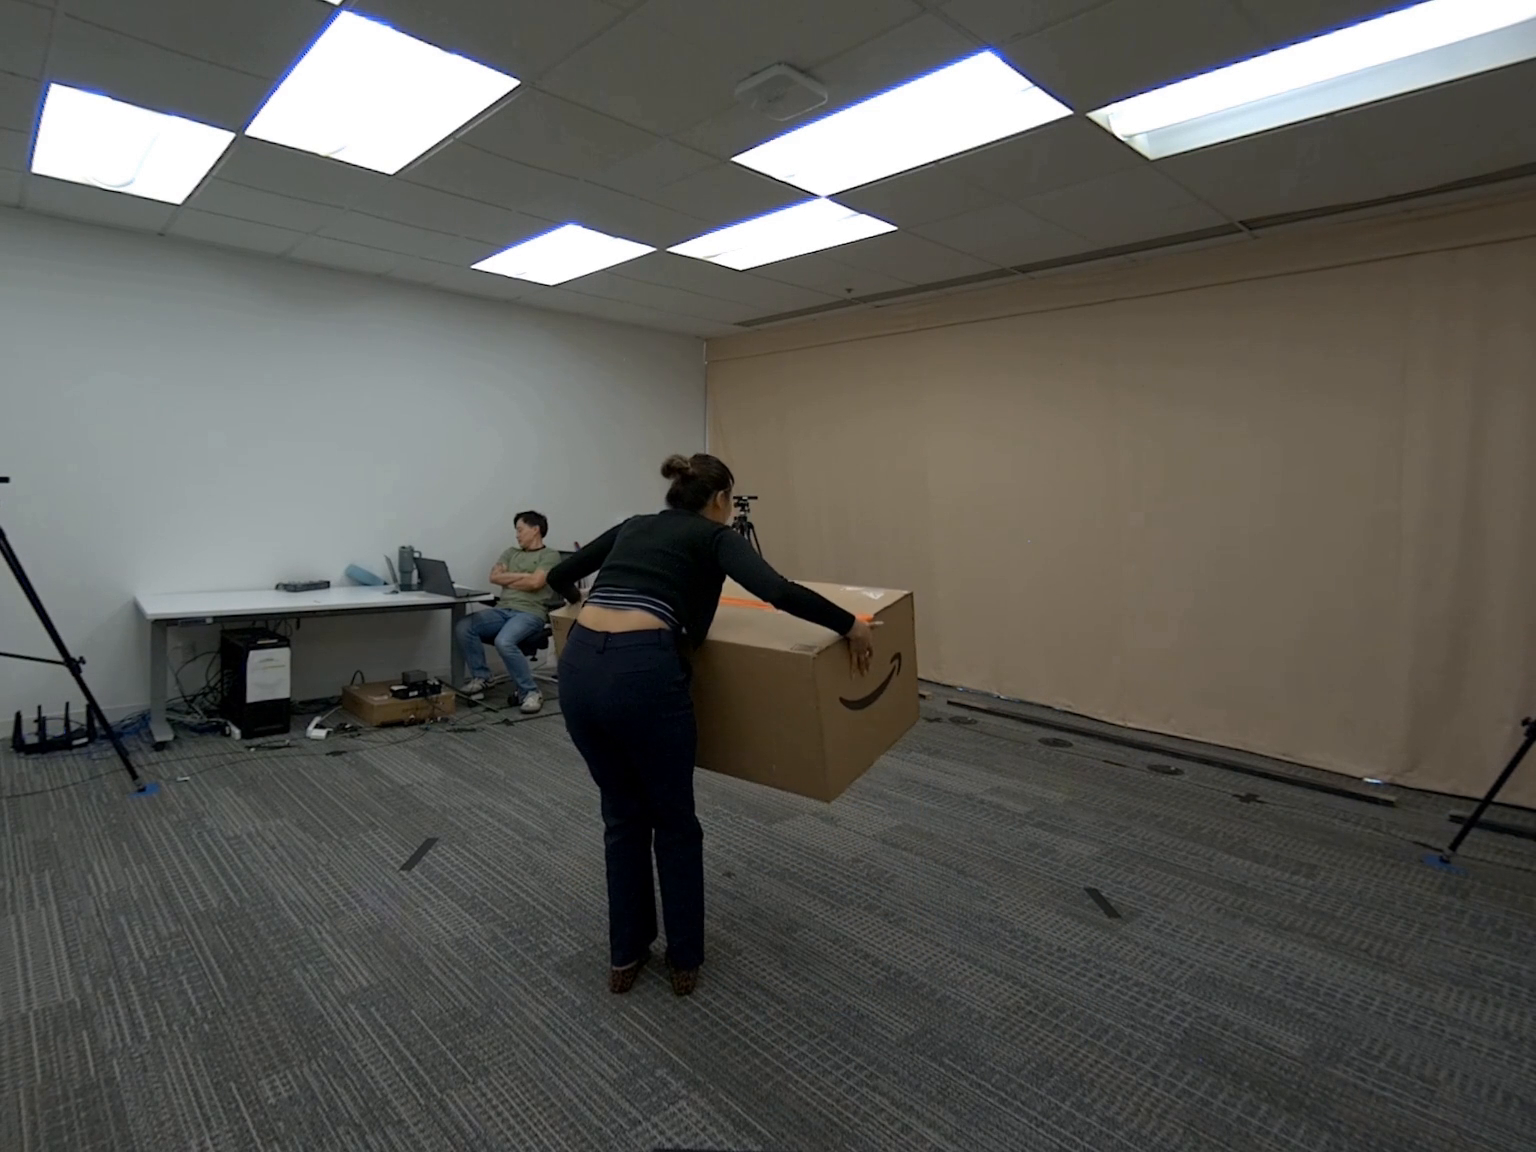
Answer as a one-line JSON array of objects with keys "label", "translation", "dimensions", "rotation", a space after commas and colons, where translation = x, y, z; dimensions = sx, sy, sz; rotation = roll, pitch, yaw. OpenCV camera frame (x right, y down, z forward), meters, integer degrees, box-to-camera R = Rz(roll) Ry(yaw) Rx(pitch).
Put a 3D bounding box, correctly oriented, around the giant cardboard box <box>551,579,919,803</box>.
[{"label": "giant cardboard box", "translation": [-0.116, 0.288, 2.699], "dimensions": [1.051, 0.421, 0.570], "rotation": [5, 18, 36]}]
